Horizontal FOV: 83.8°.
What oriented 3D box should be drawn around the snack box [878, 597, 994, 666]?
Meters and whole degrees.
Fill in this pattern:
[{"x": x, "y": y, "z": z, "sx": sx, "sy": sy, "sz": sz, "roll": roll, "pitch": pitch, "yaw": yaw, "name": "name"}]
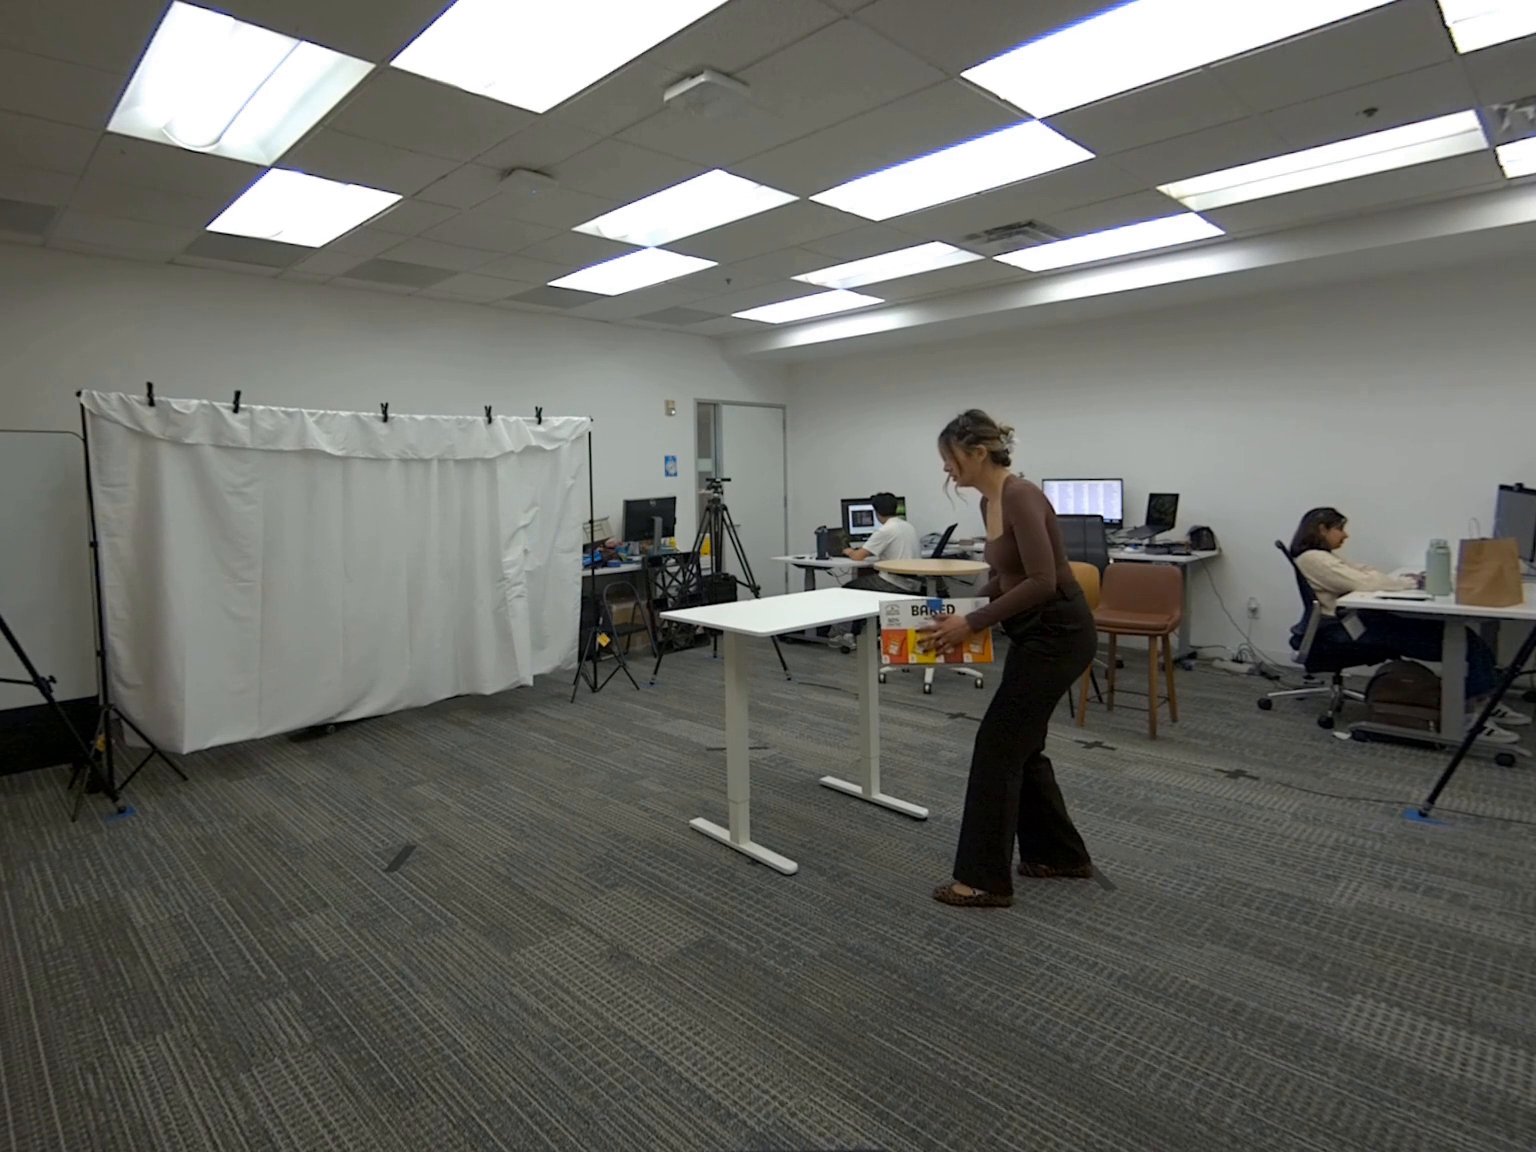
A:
[{"x": 0.568, "y": 0.202, "z": 2.885, "sx": 0.344, "sy": 0.207, "sz": 0.397, "roll": -3, "pitch": -6, "yaw": 13, "name": "snack box"}]
